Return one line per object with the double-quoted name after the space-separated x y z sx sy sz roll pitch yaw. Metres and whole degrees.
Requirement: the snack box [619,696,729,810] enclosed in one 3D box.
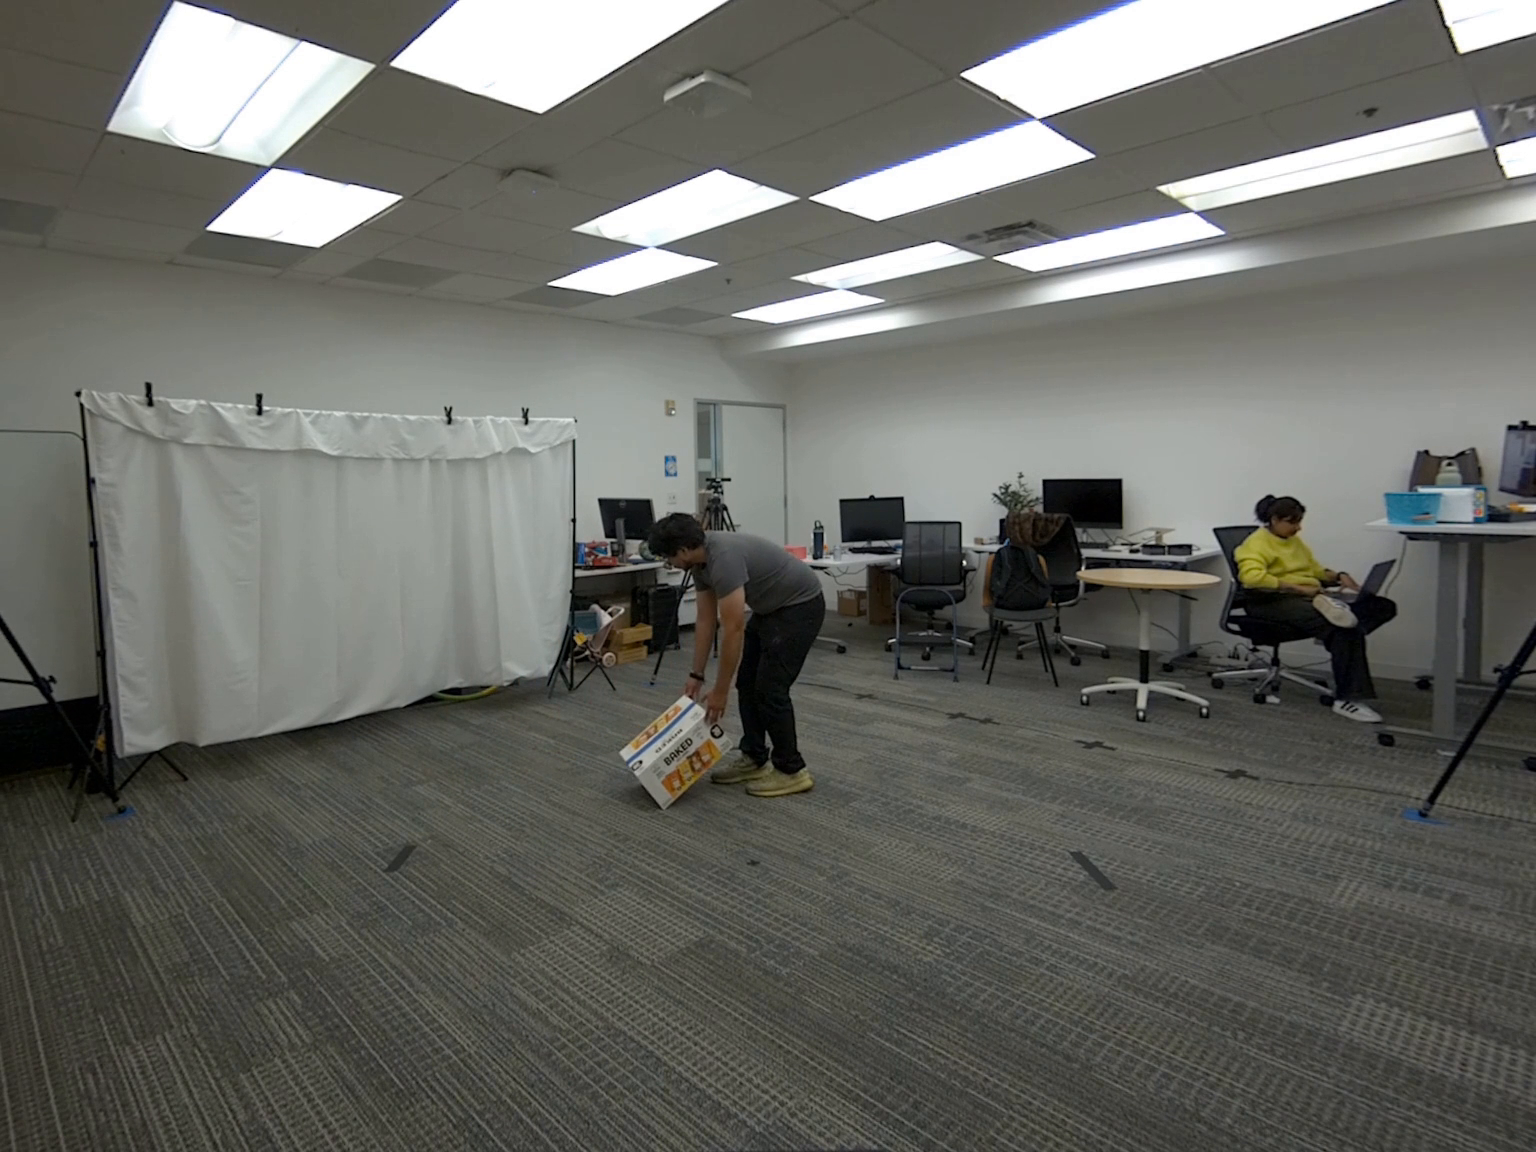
-0.410 0.771 3.811 0.404 0.202 0.348 -41 17 -14 "snack box"
